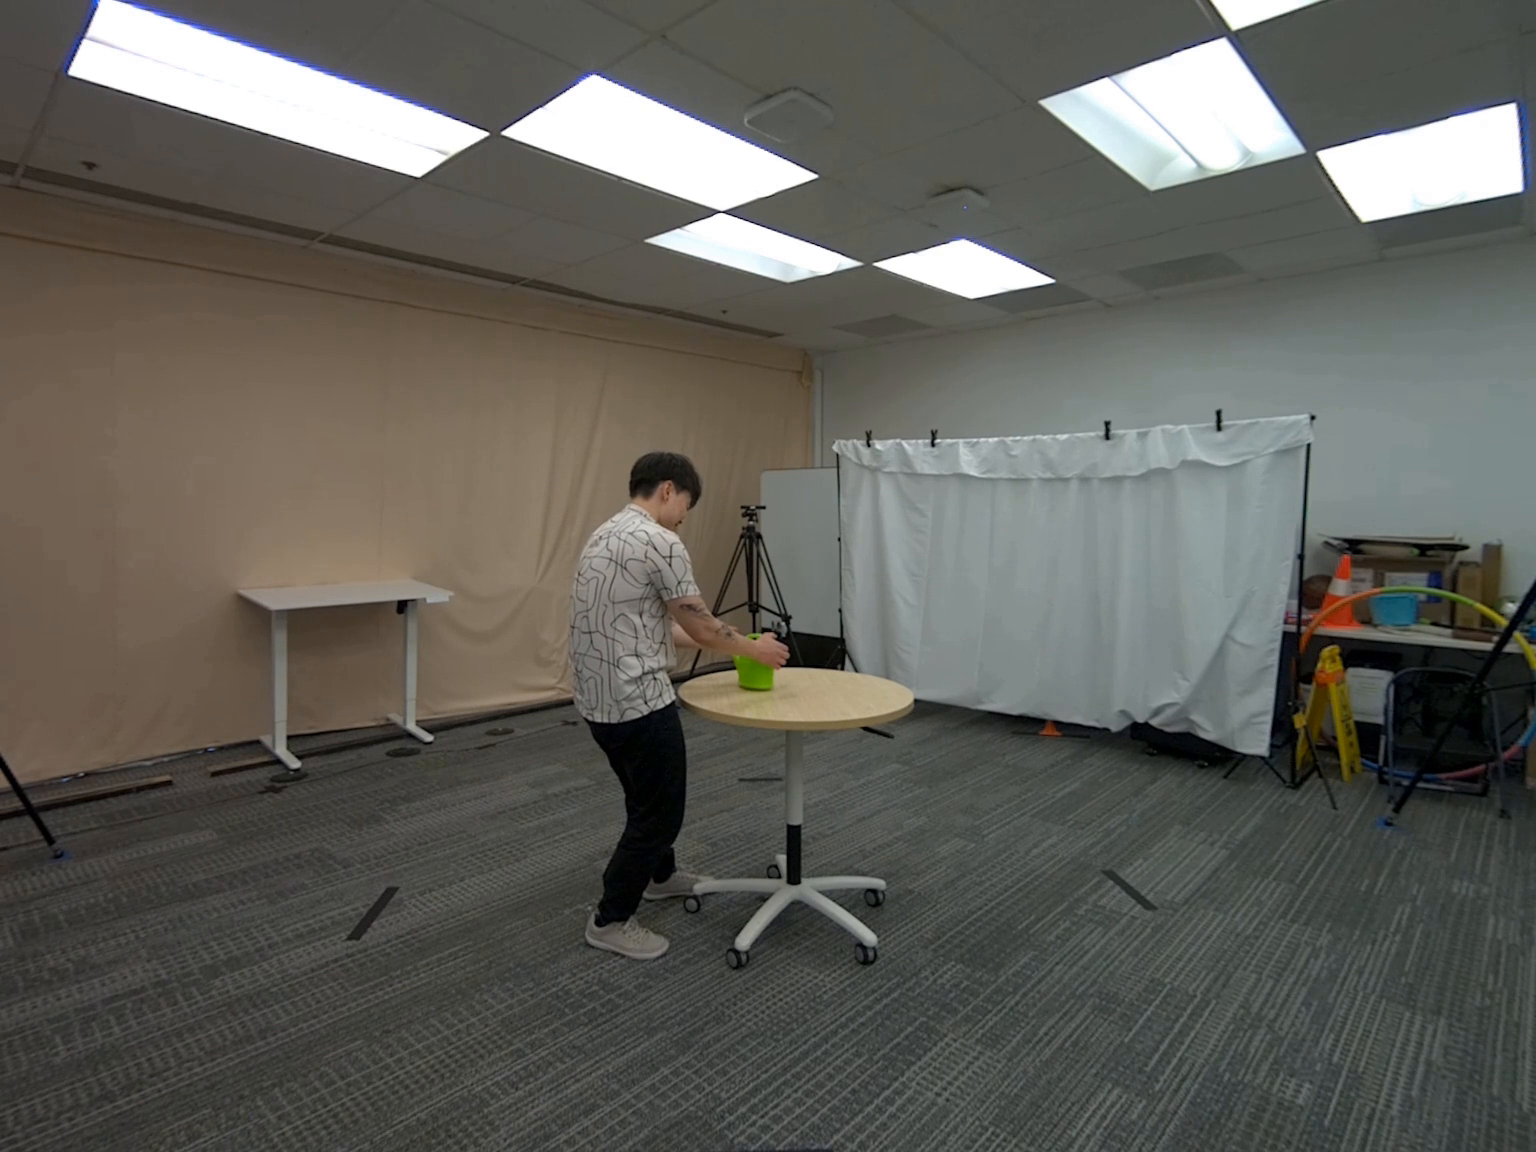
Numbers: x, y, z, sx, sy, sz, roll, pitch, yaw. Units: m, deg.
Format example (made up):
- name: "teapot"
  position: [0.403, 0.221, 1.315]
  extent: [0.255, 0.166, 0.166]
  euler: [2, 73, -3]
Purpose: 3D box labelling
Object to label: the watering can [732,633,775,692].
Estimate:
- name: "watering can"
  position: [-0.062, 0.280, 2.832]
  extent: [0.095, 0.177, 0.287]
  euler: [5, 0, -42]
